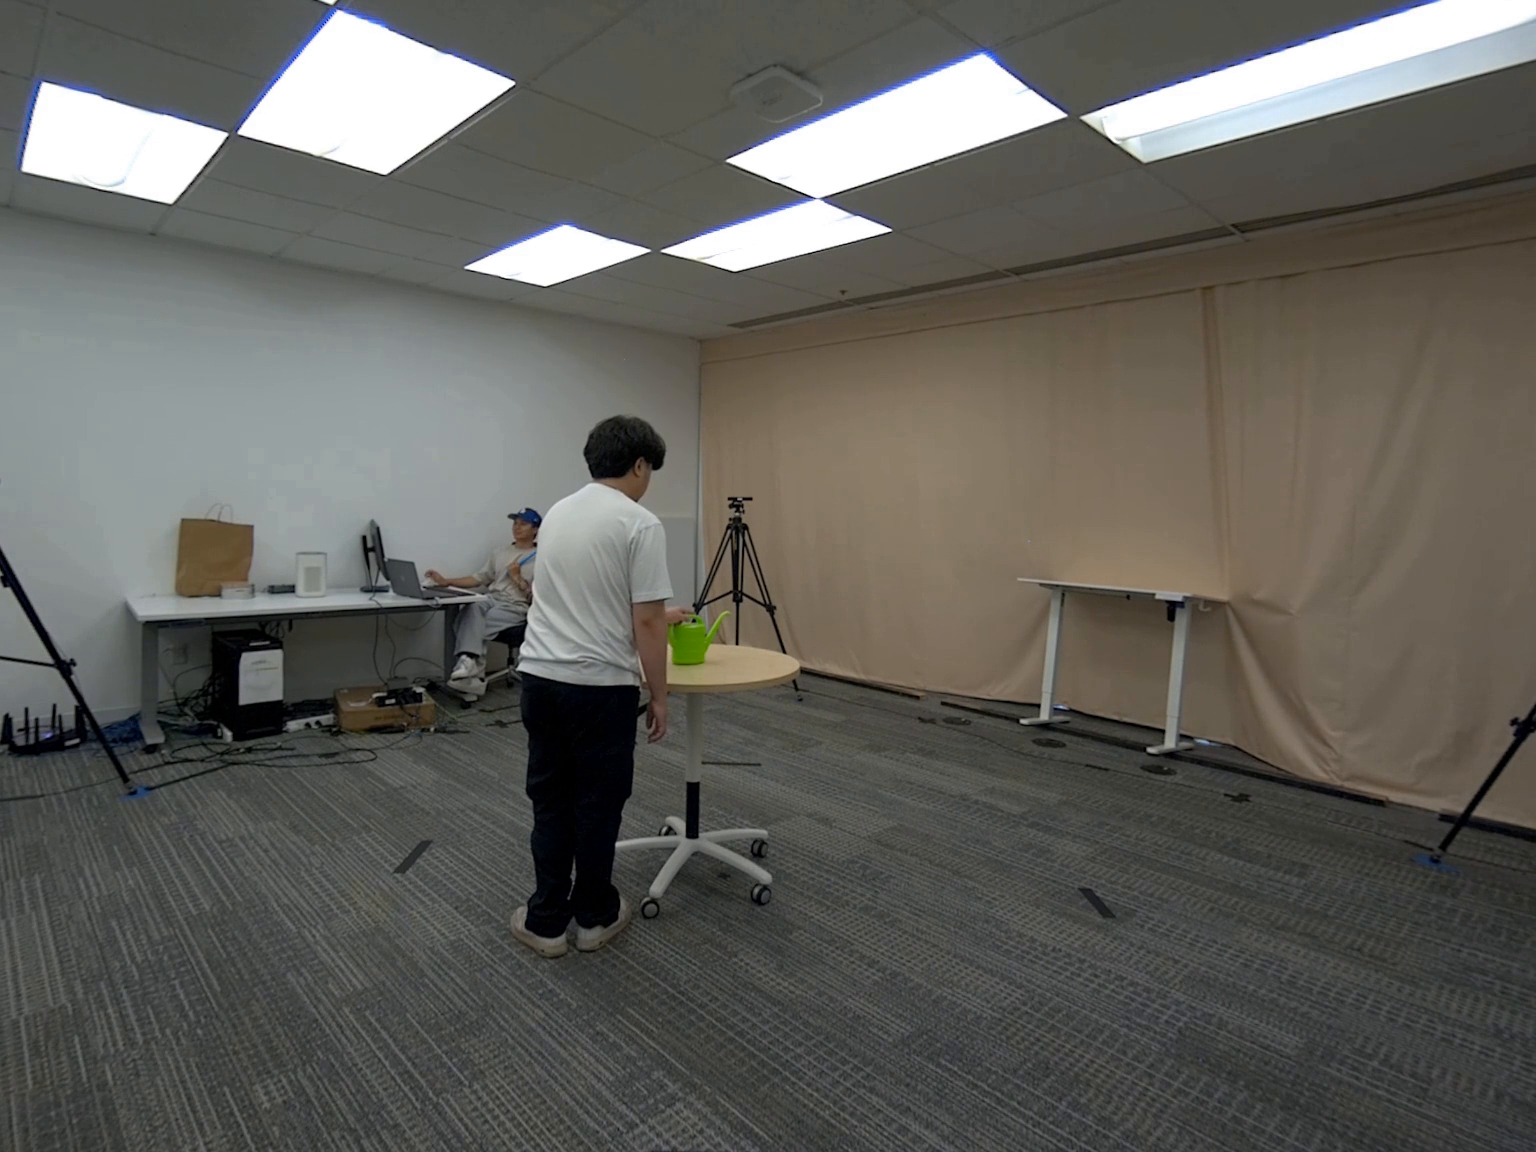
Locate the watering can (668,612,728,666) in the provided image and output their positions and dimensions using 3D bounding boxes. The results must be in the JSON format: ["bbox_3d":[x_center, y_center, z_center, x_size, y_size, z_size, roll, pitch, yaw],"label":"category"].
[{"bbox_3d":[-0.261,0.228,3.070,0.273,0.176,0.100,-3,7,-29],"label":"watering can"}]
